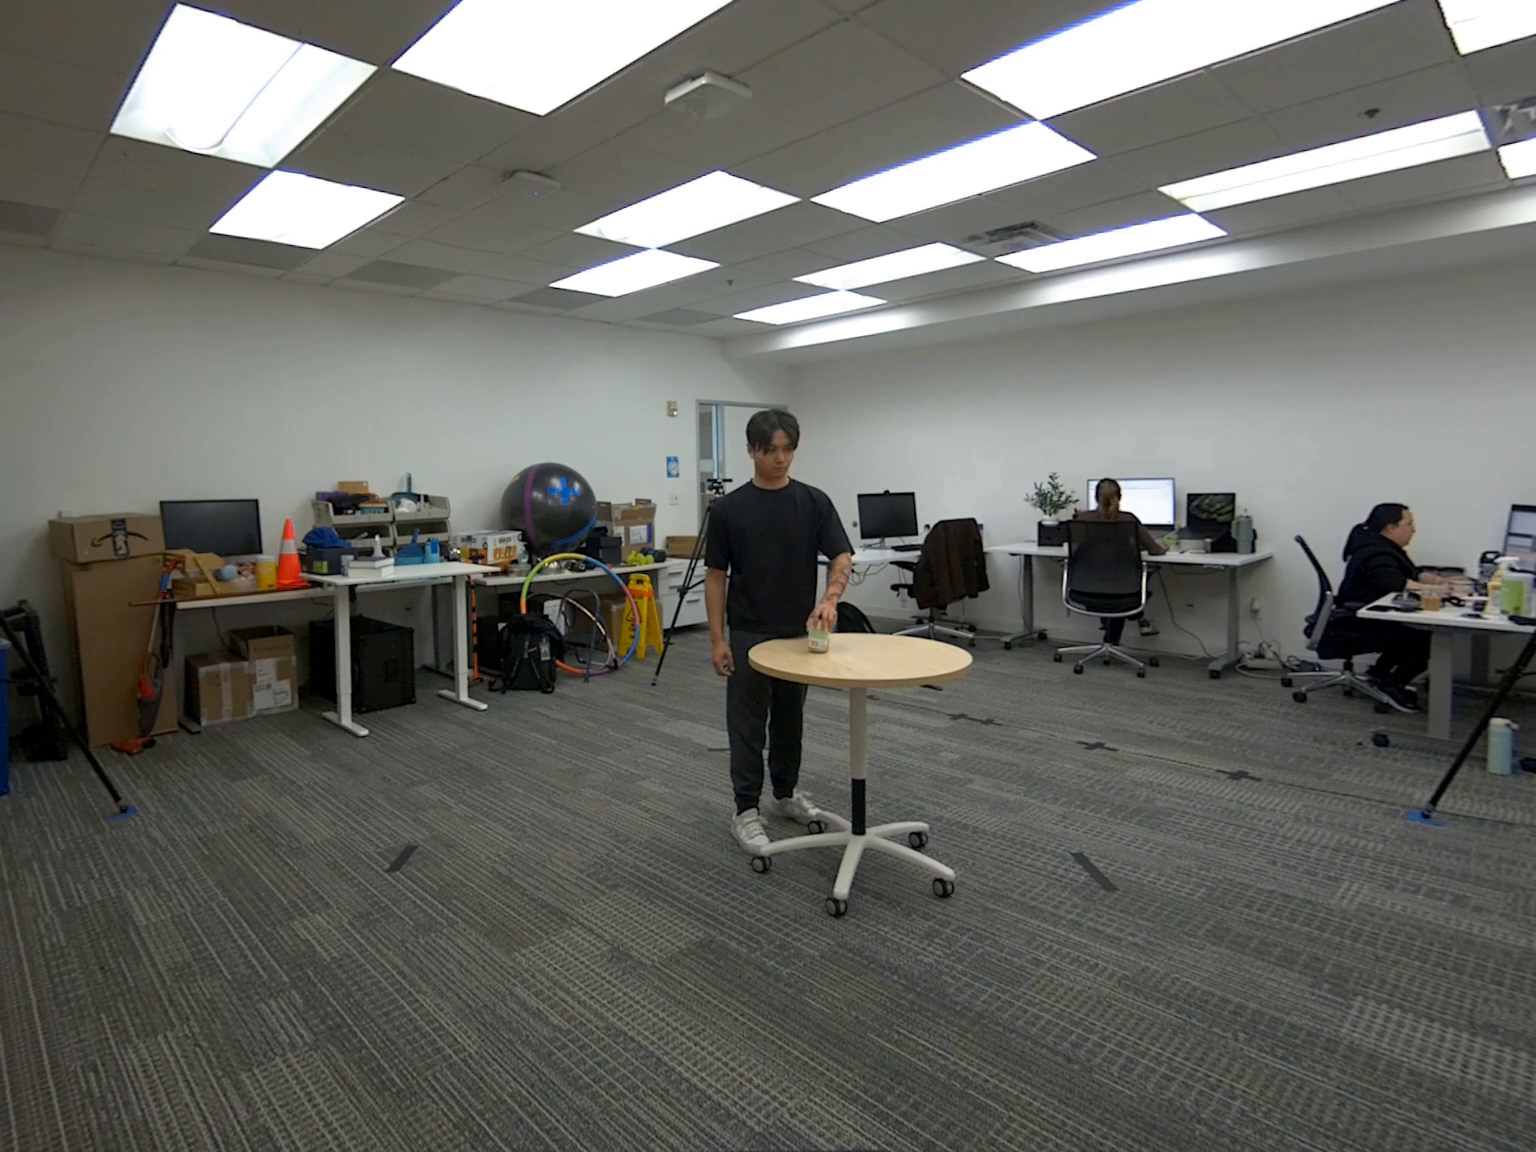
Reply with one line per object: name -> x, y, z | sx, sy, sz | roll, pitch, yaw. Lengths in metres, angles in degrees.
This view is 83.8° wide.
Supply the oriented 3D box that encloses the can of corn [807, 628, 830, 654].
can of corn -> 0.196, 0.209, 3.010 | 0.074, 0.111, 0.074 | 6, 0, -2
